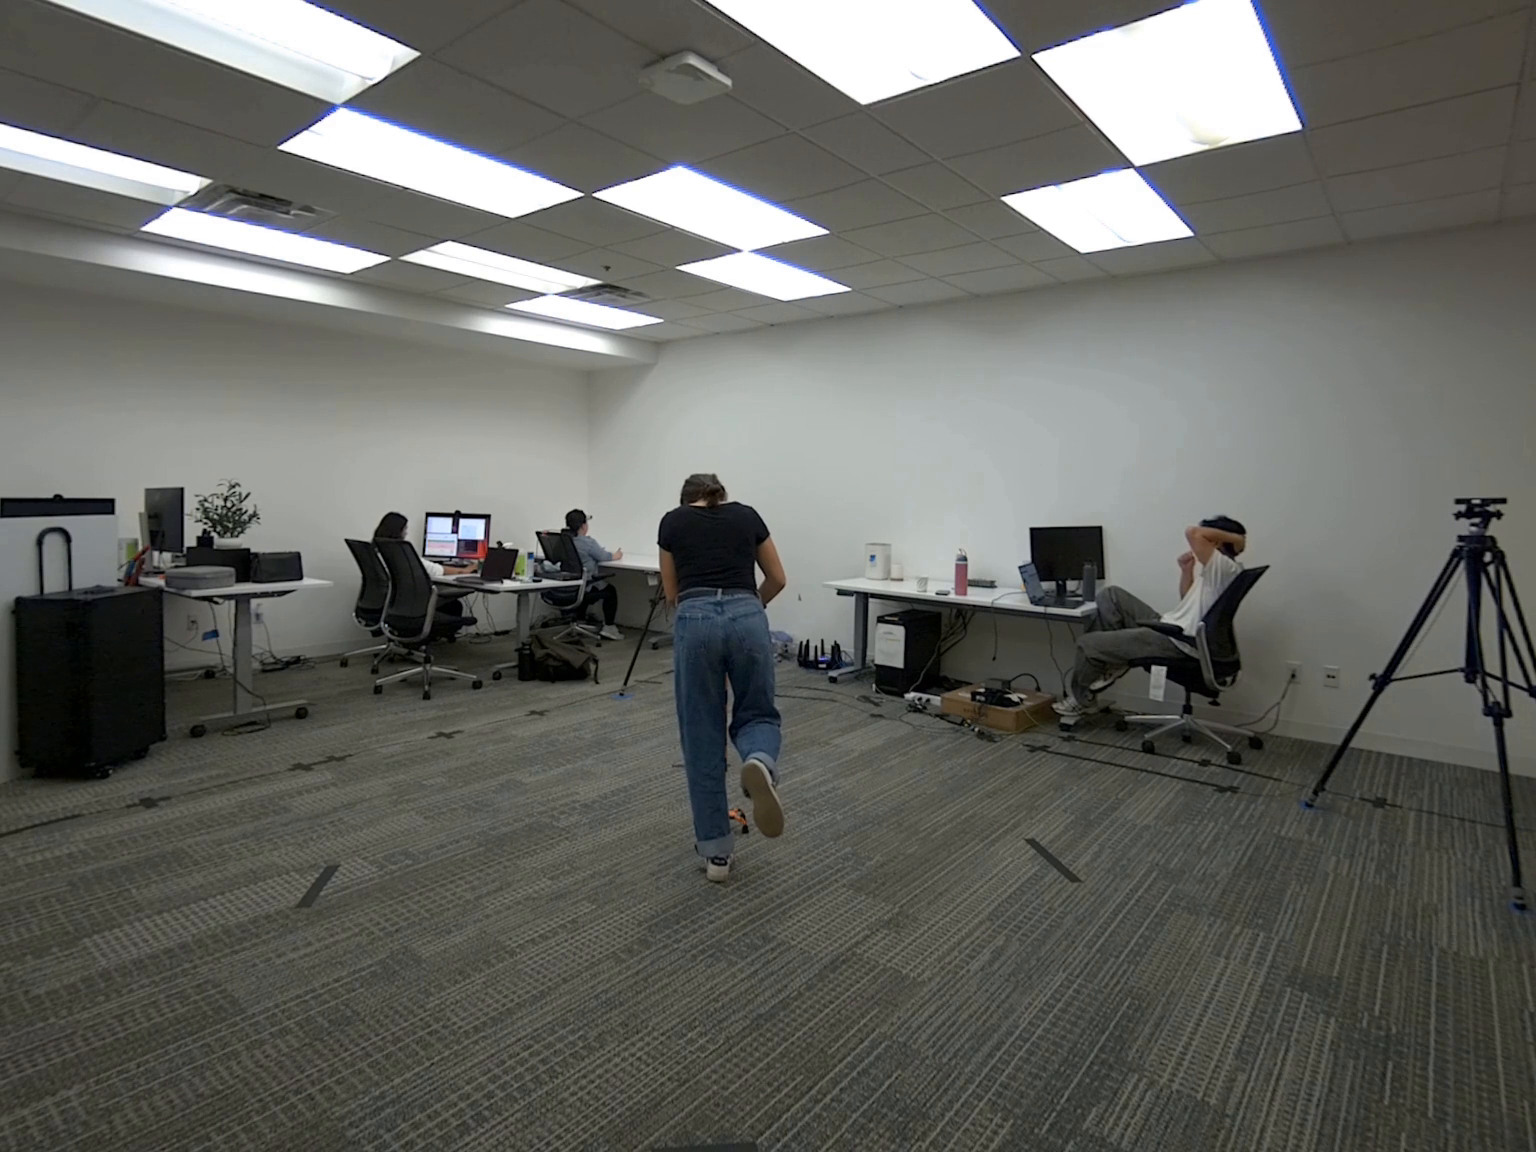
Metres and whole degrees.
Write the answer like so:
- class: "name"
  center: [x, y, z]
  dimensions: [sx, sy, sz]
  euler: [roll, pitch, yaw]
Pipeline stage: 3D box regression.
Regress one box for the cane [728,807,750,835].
- class: "cane"
  center: [-0.173, 0.562, 3.494]
  dimensions: [0.206, 0.906, 0.152]
  euler: [0, 2, -3]
